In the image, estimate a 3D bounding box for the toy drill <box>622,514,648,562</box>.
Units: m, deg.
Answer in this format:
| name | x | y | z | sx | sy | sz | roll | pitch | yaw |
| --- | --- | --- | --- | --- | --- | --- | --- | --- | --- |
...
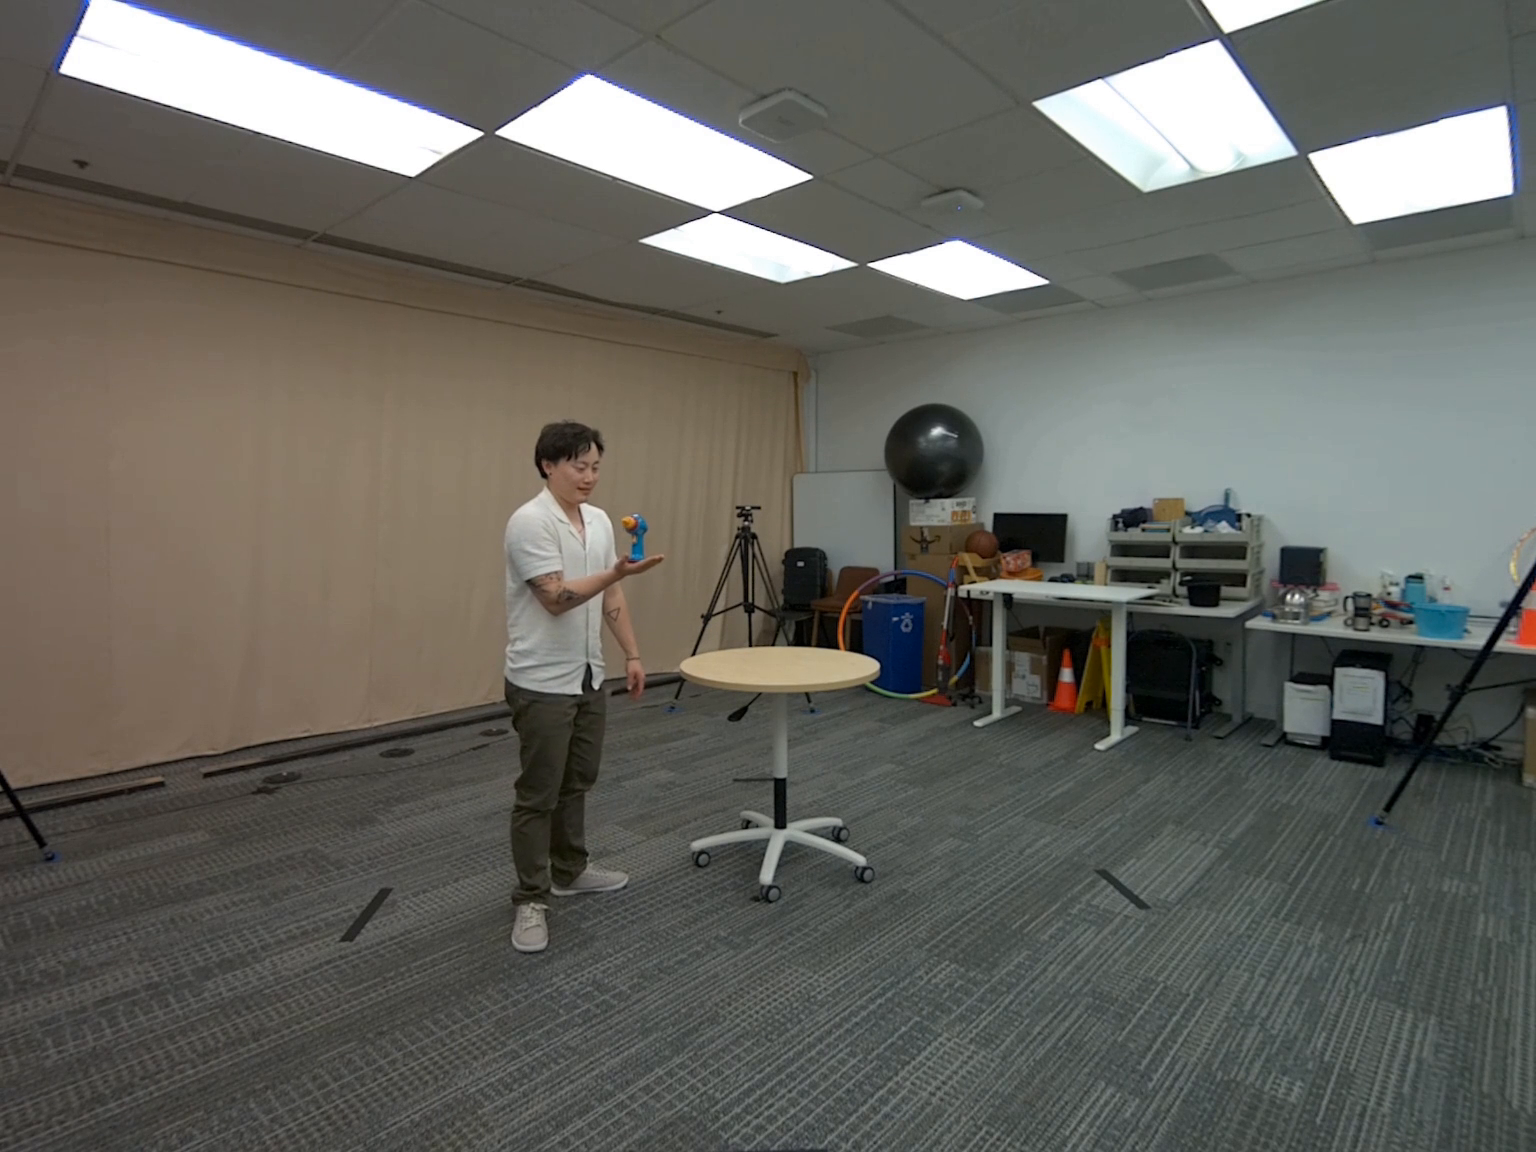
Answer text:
| name | x | y | z | sx | sy | sz | roll | pitch | yaw |
| --- | --- | --- | --- | --- | --- | --- | --- | --- | --- |
| toy drill | -0.406 | -0.116 | 2.540 | 0.062 | 0.147 | 0.167 | -1 | -7 | 8 |
